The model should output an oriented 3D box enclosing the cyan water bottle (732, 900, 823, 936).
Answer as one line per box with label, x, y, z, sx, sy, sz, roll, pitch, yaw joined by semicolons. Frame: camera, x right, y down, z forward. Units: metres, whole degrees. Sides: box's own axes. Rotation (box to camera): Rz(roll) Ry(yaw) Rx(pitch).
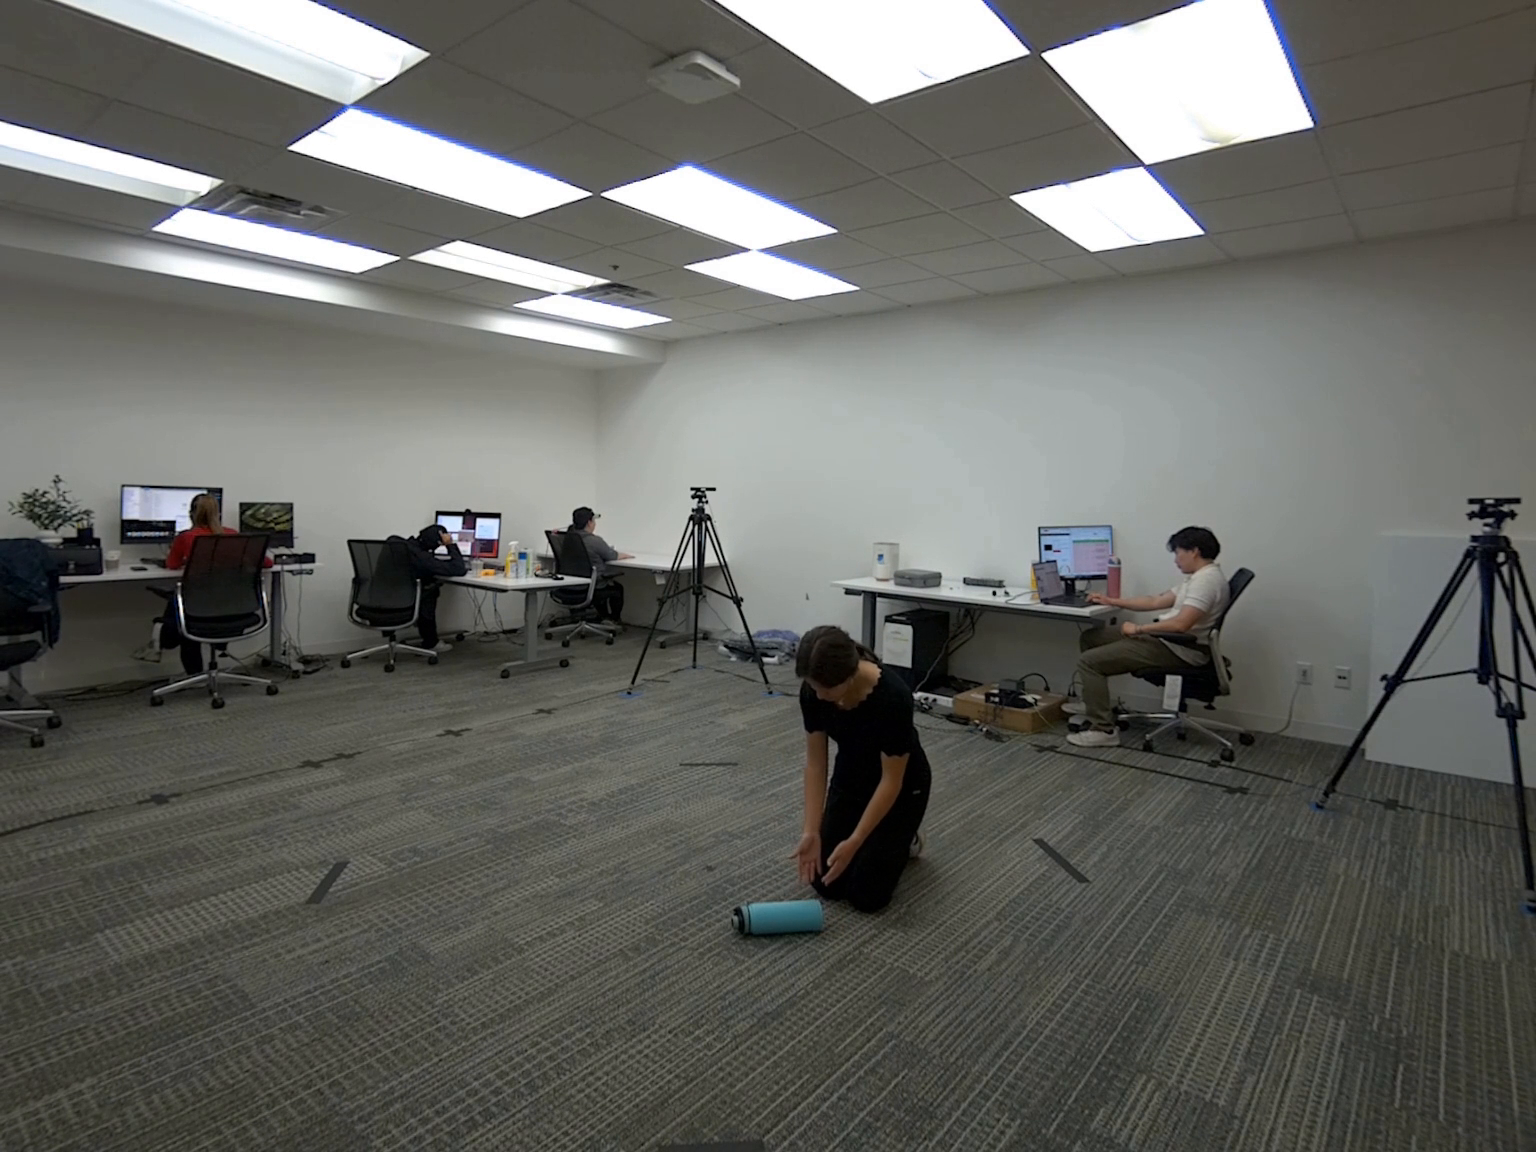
cyan water bottle;0.018;1.065;2.673;0.281;0.092;0.093;1;4;-8
